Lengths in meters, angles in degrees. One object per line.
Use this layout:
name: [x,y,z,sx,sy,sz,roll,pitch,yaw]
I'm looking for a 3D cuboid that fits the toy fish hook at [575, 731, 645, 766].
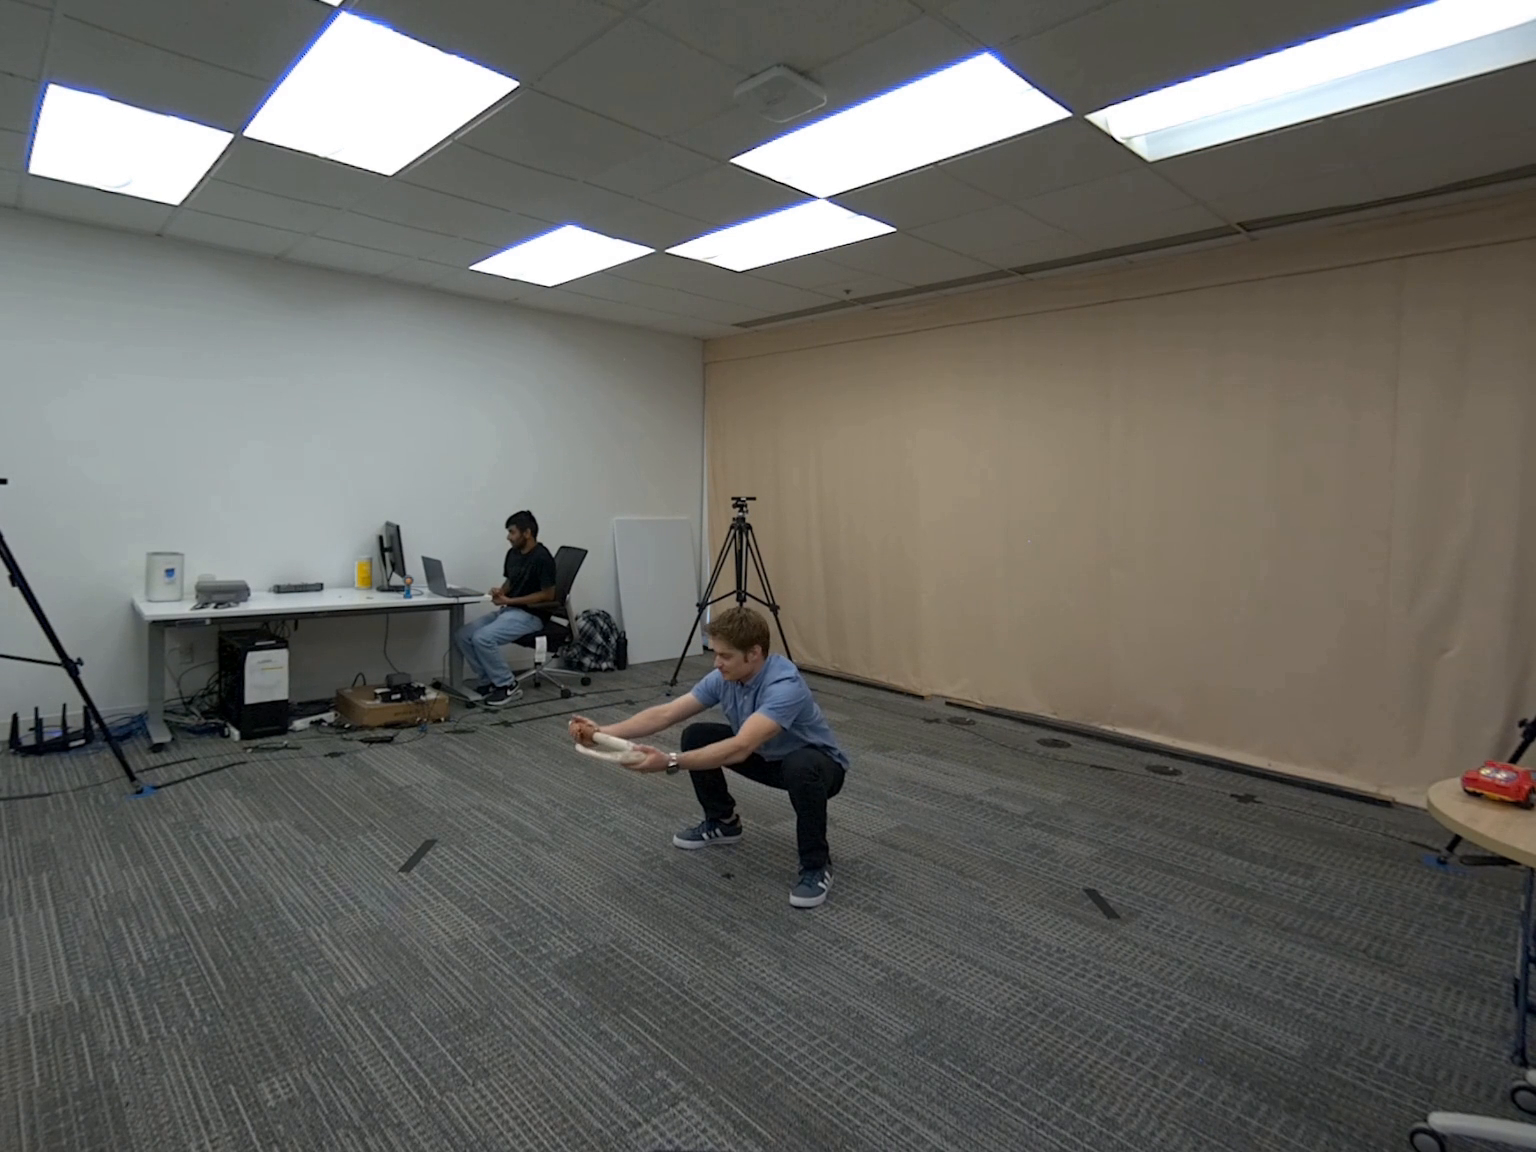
toy fish hook: [-0.592,0.560,2.866,0.218,0.048,0.519,13,-4,-39]
